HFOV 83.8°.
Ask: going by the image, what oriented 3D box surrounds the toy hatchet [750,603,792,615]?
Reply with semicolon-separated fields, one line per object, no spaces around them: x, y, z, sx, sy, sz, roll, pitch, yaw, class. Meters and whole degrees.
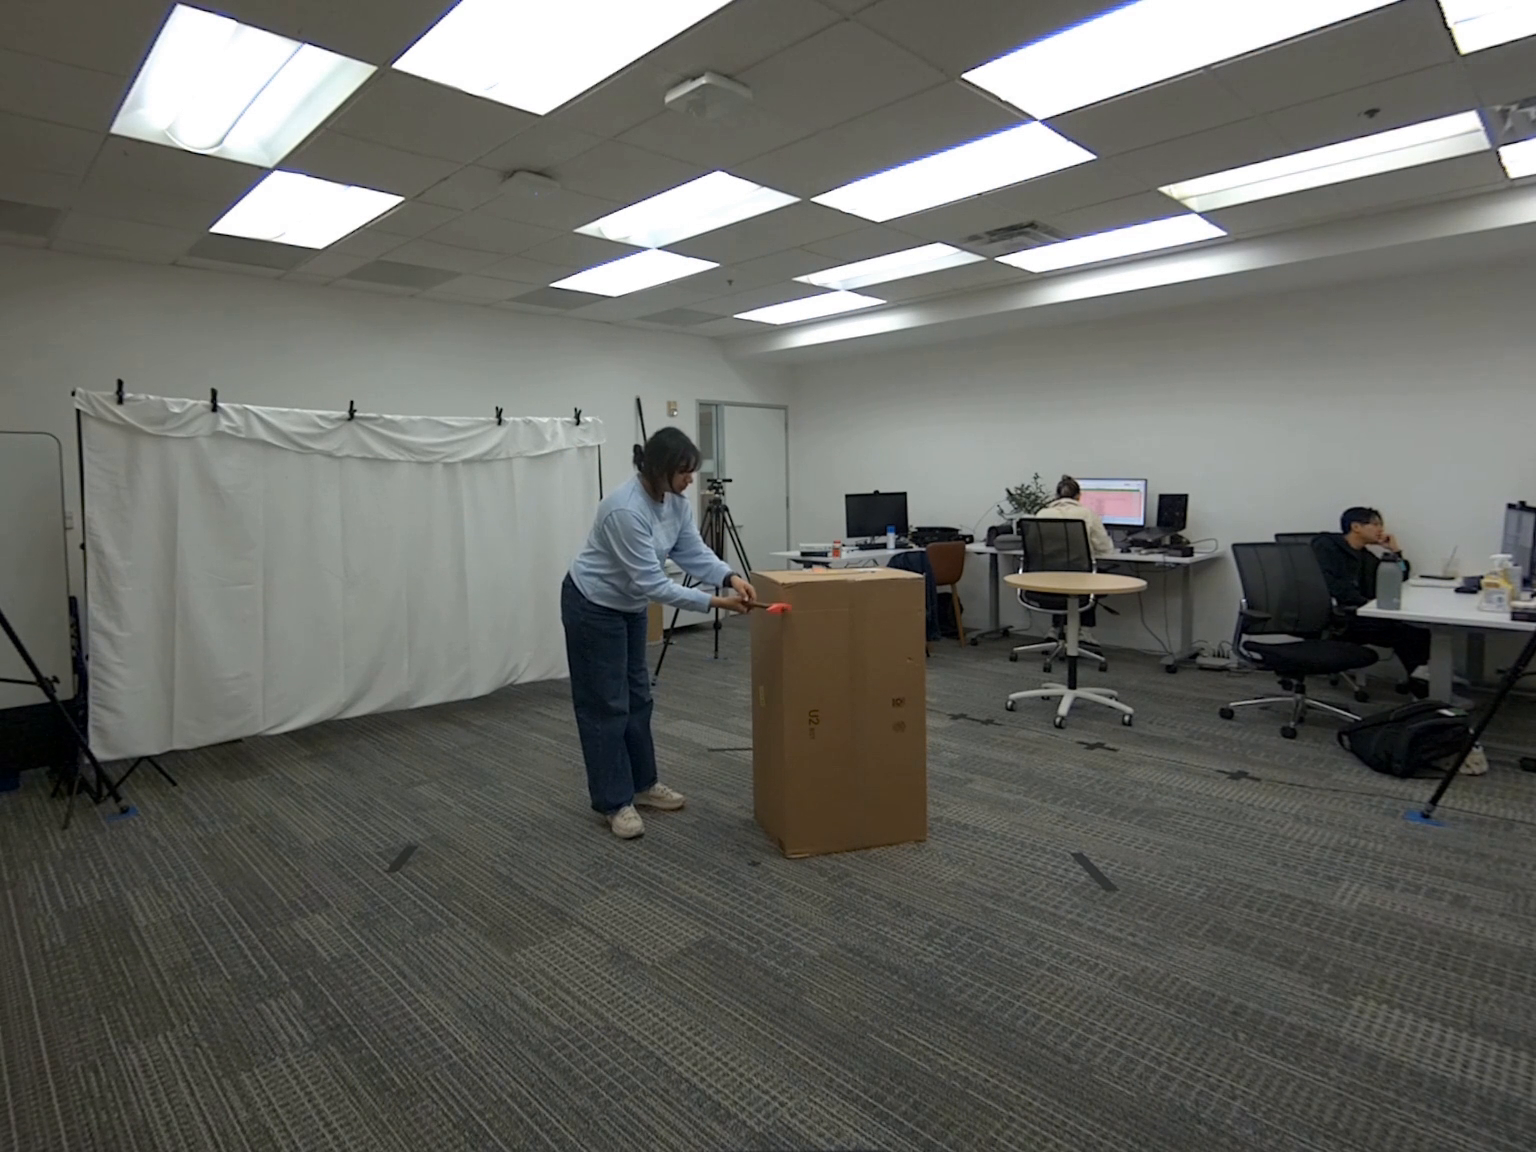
-0.034;0.100;3.105;0.128;0.029;0.278;-5;10;-31;toy hatchet
